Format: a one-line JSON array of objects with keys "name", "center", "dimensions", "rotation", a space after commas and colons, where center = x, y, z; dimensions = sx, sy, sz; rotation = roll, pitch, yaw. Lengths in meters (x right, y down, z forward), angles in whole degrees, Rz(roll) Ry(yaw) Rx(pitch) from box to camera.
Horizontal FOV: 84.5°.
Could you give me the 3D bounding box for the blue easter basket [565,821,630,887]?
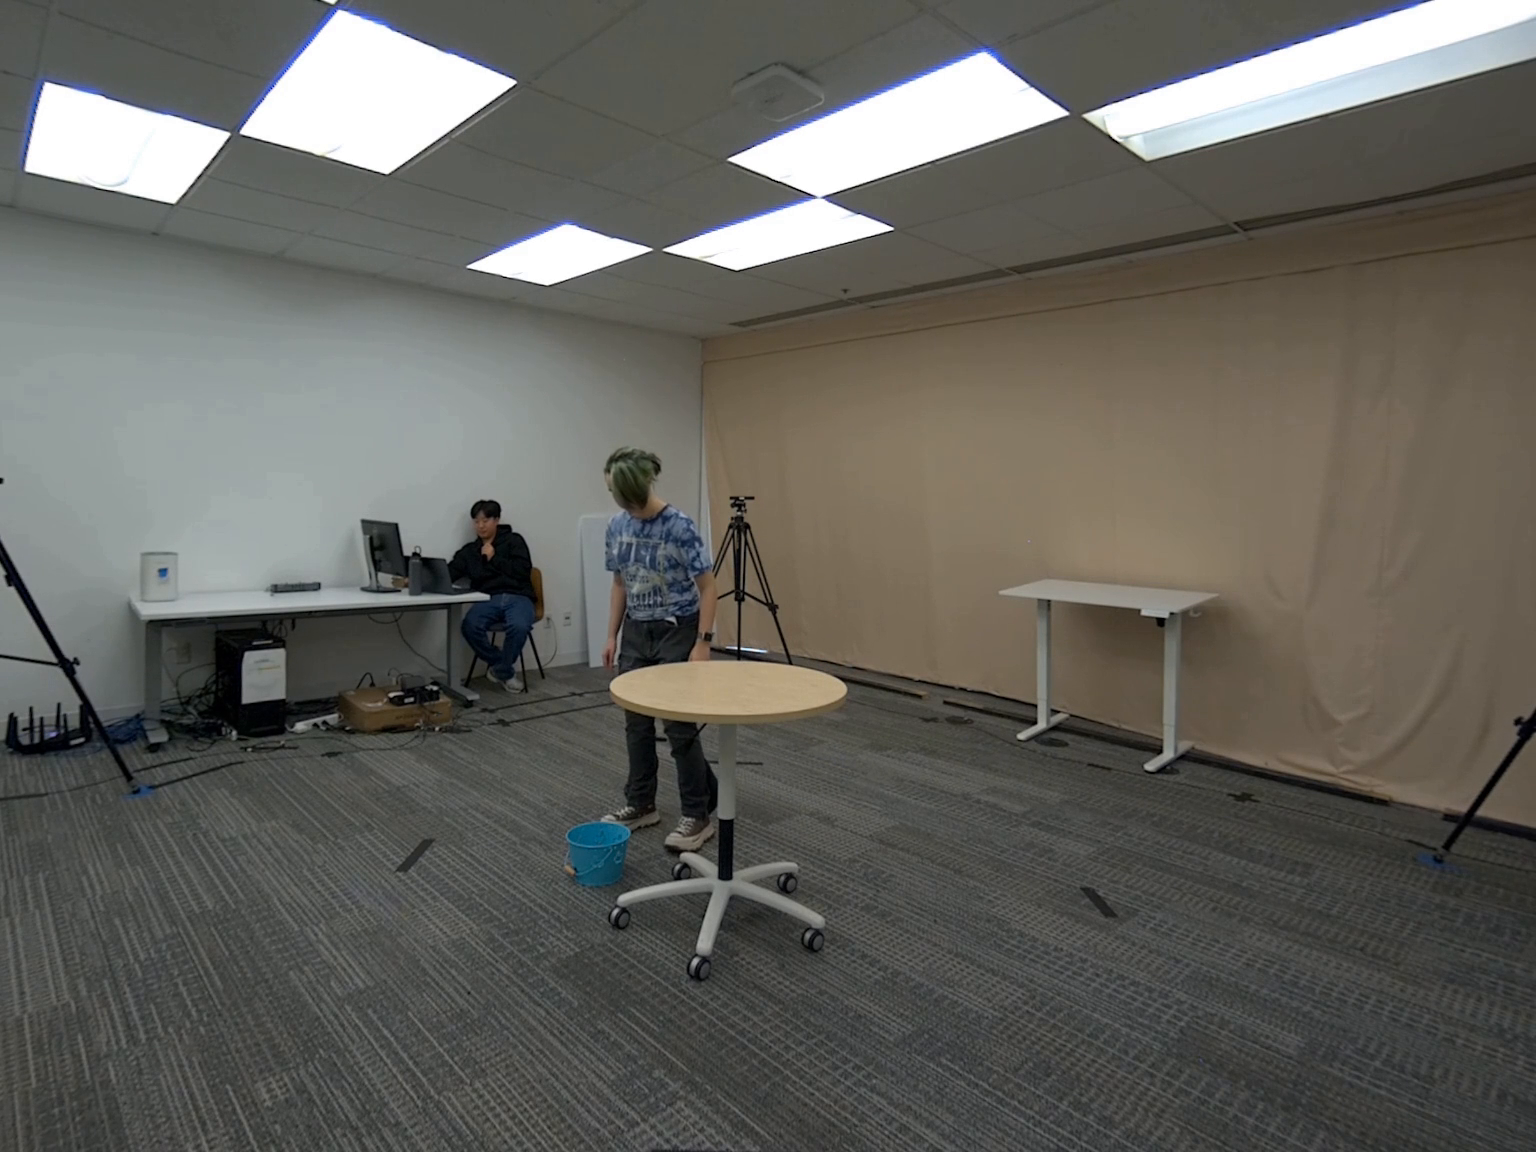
[{"name": "blue easter basket", "center": [-0.638, 1.018, 3.081], "dimensions": [0.243, 0.155, 0.244], "rotation": [2, 4, -2]}]
